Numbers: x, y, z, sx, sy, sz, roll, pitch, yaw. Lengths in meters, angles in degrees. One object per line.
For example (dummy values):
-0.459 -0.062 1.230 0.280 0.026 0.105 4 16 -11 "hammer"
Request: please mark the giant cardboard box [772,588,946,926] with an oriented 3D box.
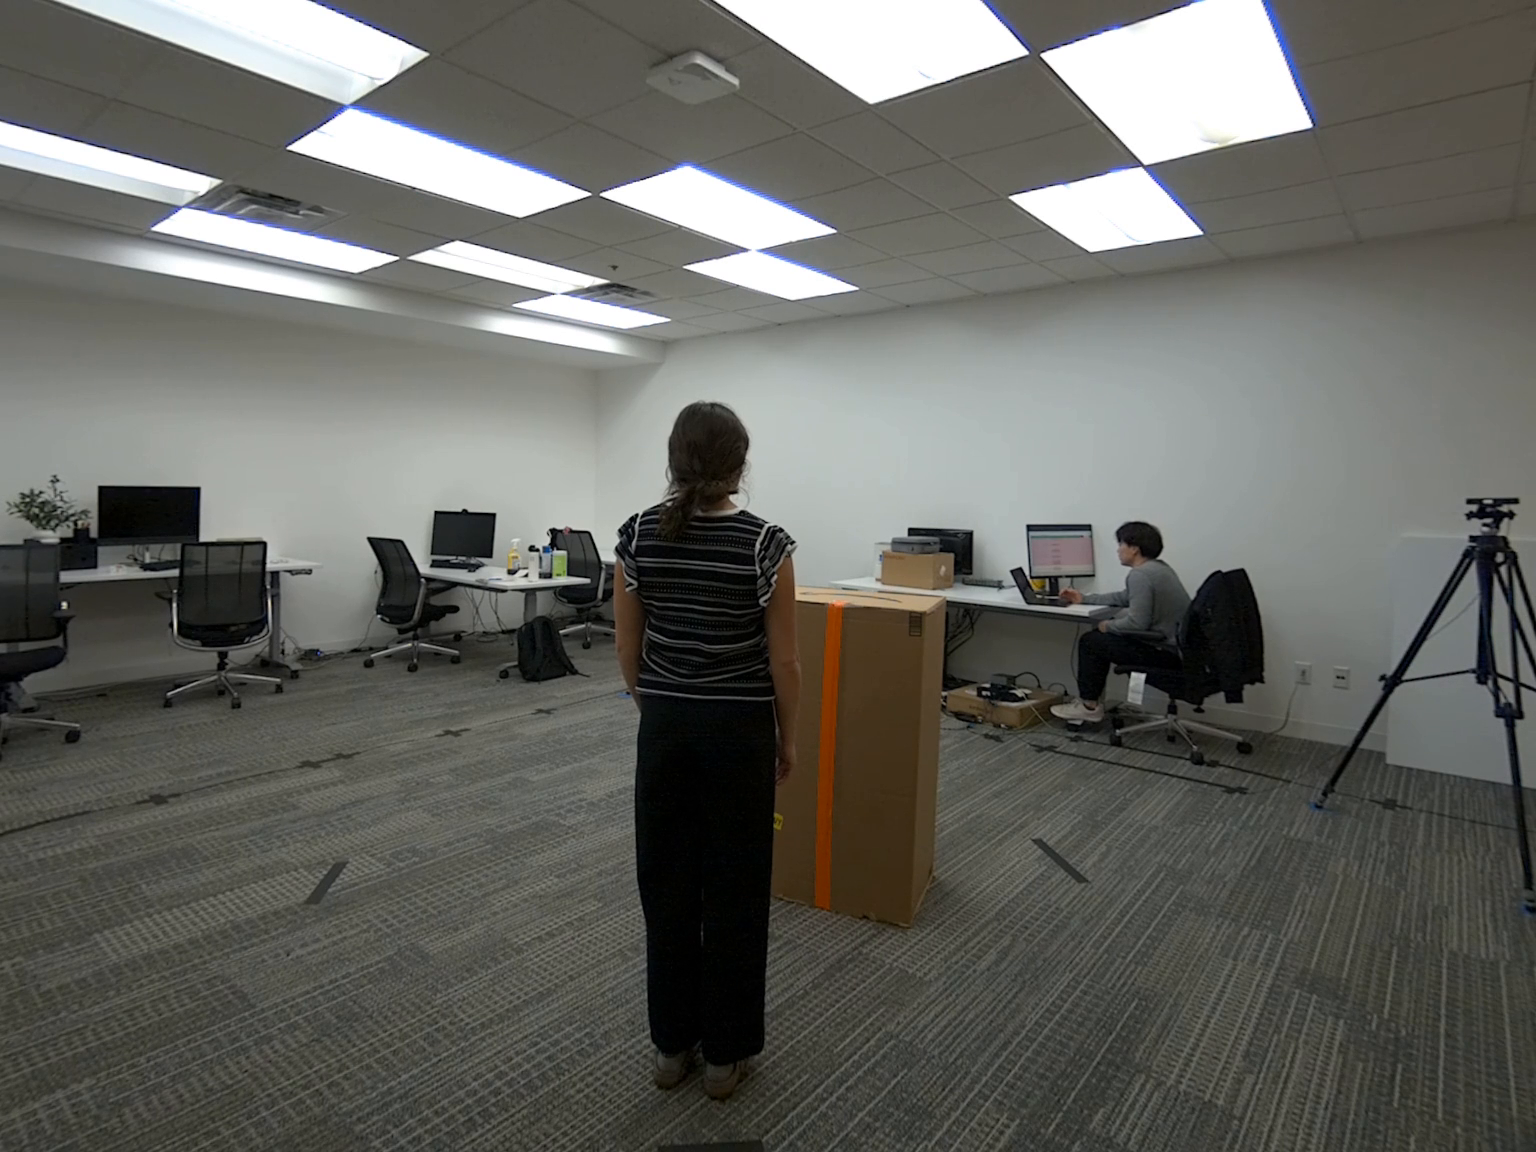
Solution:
0.276 0.580 2.989 0.592 1.022 0.417 3 4 24 "giant cardboard box"
